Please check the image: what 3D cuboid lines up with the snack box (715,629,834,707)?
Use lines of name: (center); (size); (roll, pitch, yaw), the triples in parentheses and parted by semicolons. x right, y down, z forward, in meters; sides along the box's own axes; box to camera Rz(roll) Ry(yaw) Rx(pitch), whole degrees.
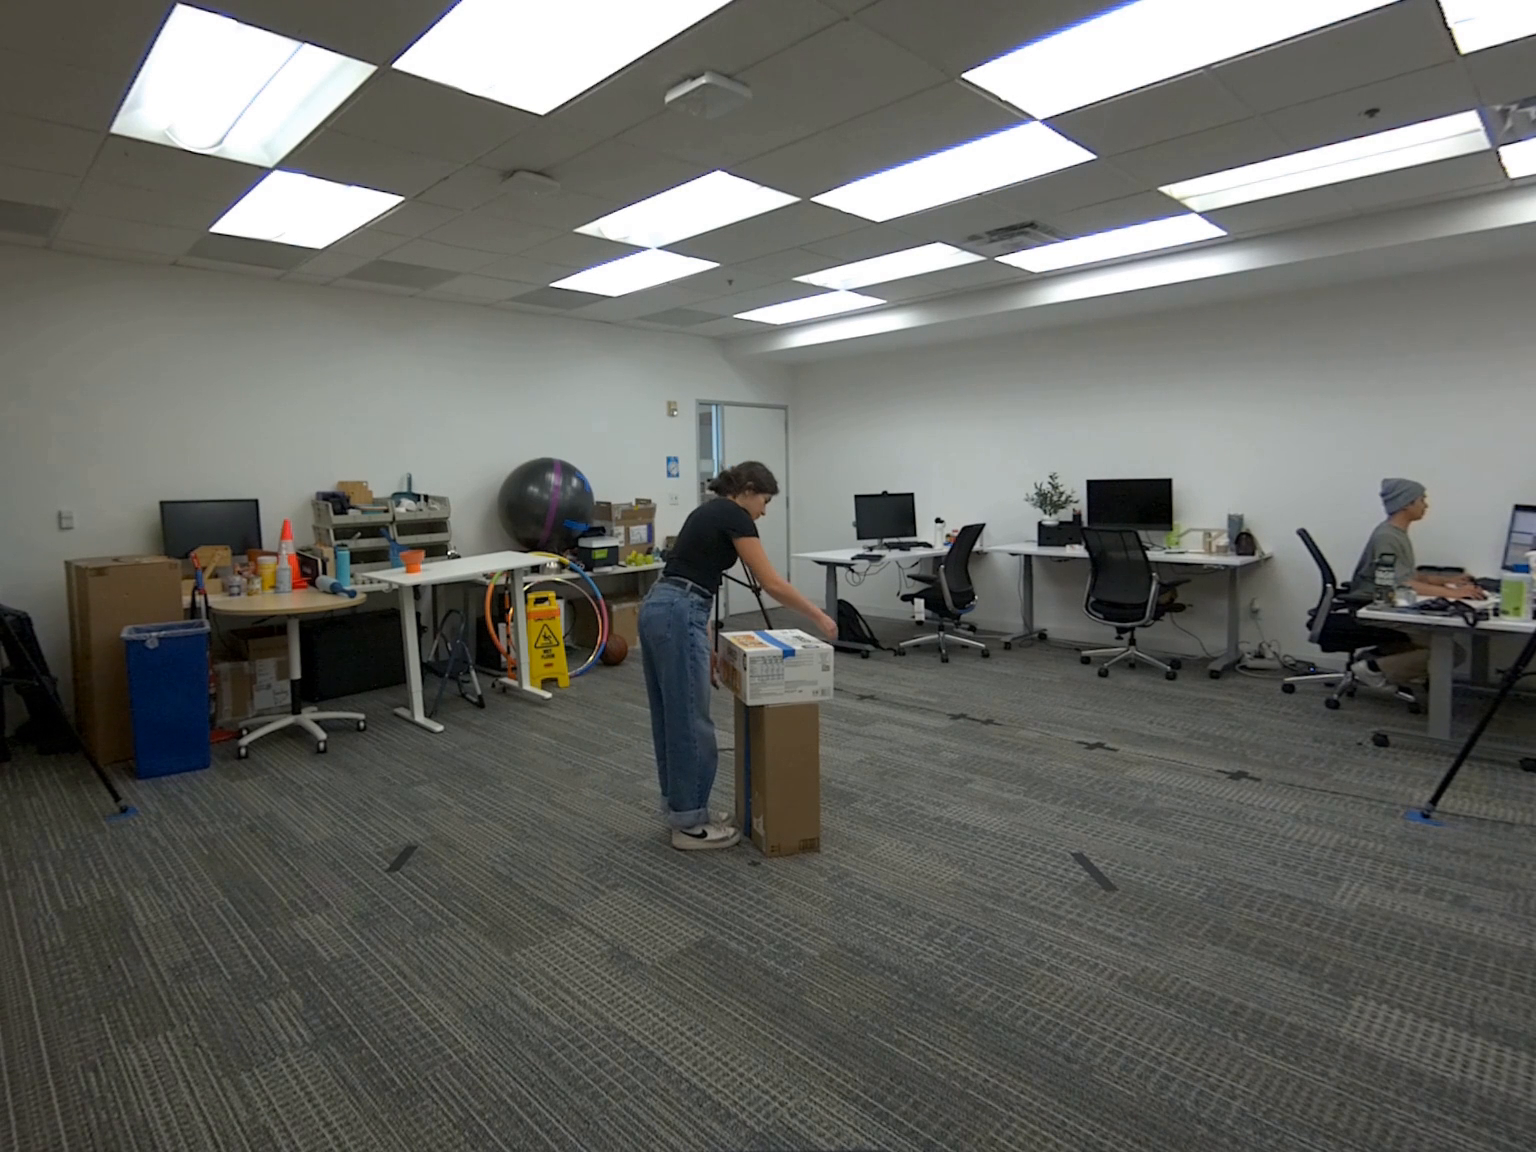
snack box: (0.021, 0.347, 3.337); (0.335, 0.205, 0.413); (-2, 6, -16)
